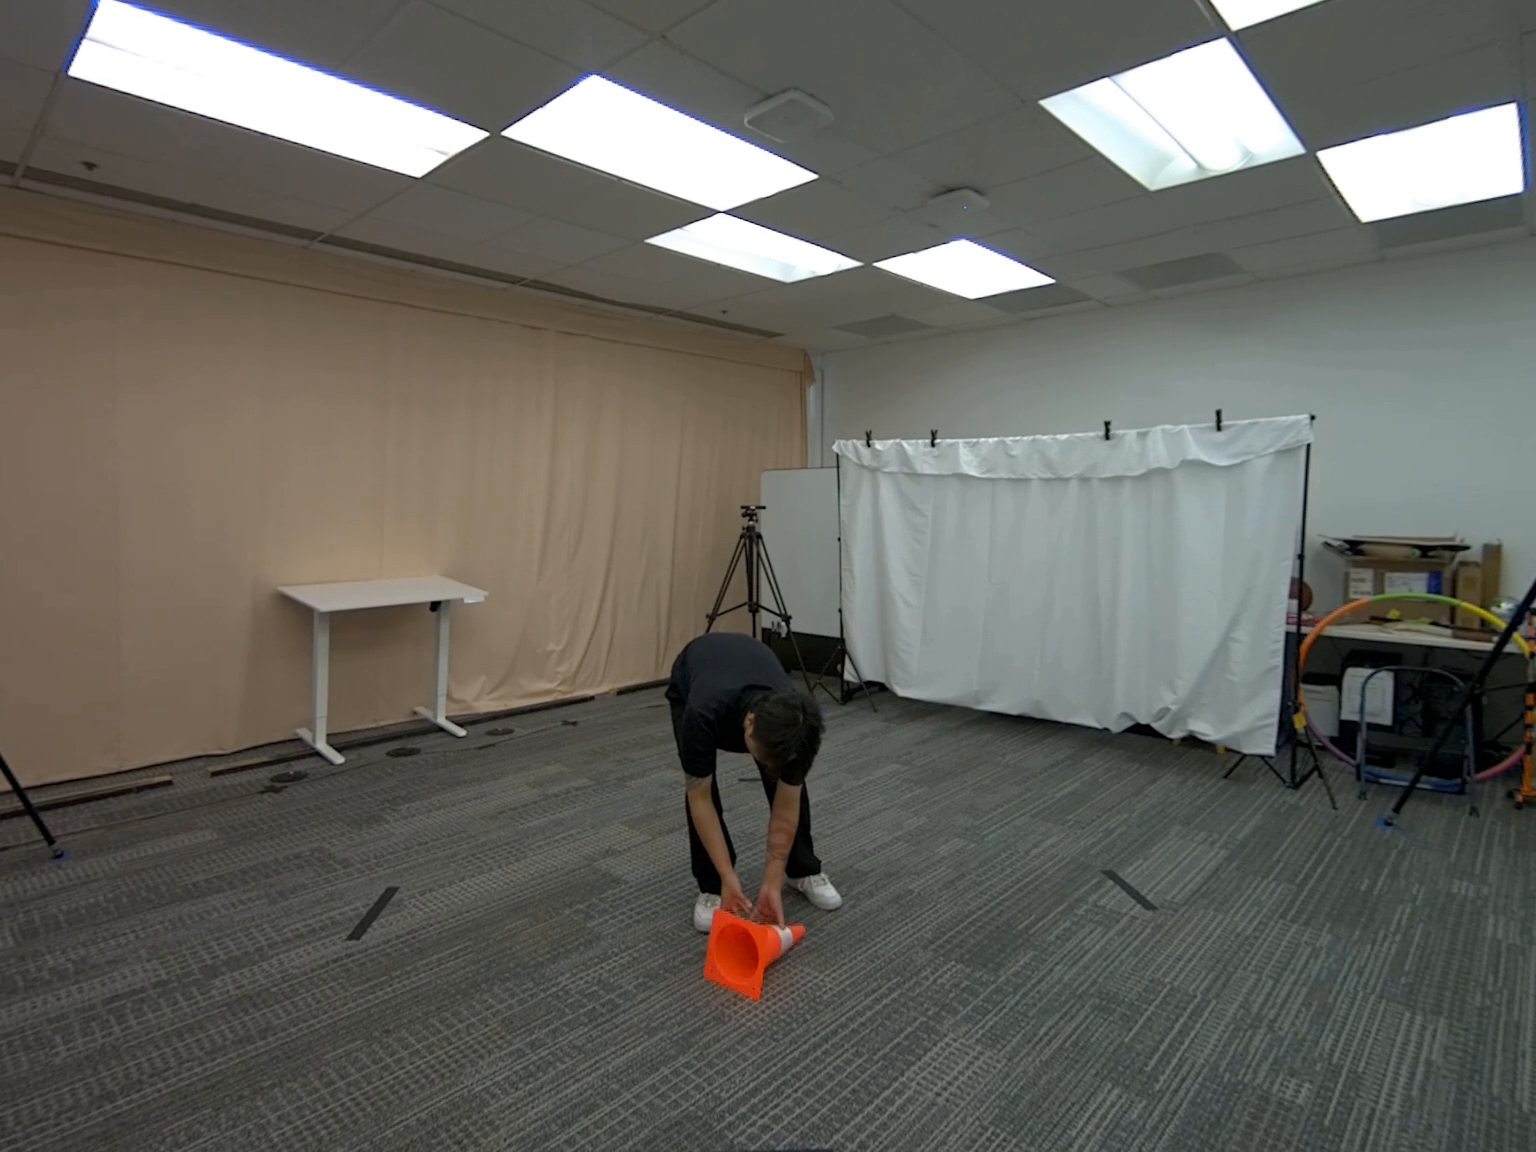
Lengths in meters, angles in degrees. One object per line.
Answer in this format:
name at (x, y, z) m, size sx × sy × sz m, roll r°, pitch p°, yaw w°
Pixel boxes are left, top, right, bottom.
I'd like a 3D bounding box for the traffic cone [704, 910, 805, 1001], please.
traffic cone at (-0.004, 1.126, 2.587) m, size 0.210 × 0.206 × 0.370 m, roll 2°, pitch -12°, yaw 36°
